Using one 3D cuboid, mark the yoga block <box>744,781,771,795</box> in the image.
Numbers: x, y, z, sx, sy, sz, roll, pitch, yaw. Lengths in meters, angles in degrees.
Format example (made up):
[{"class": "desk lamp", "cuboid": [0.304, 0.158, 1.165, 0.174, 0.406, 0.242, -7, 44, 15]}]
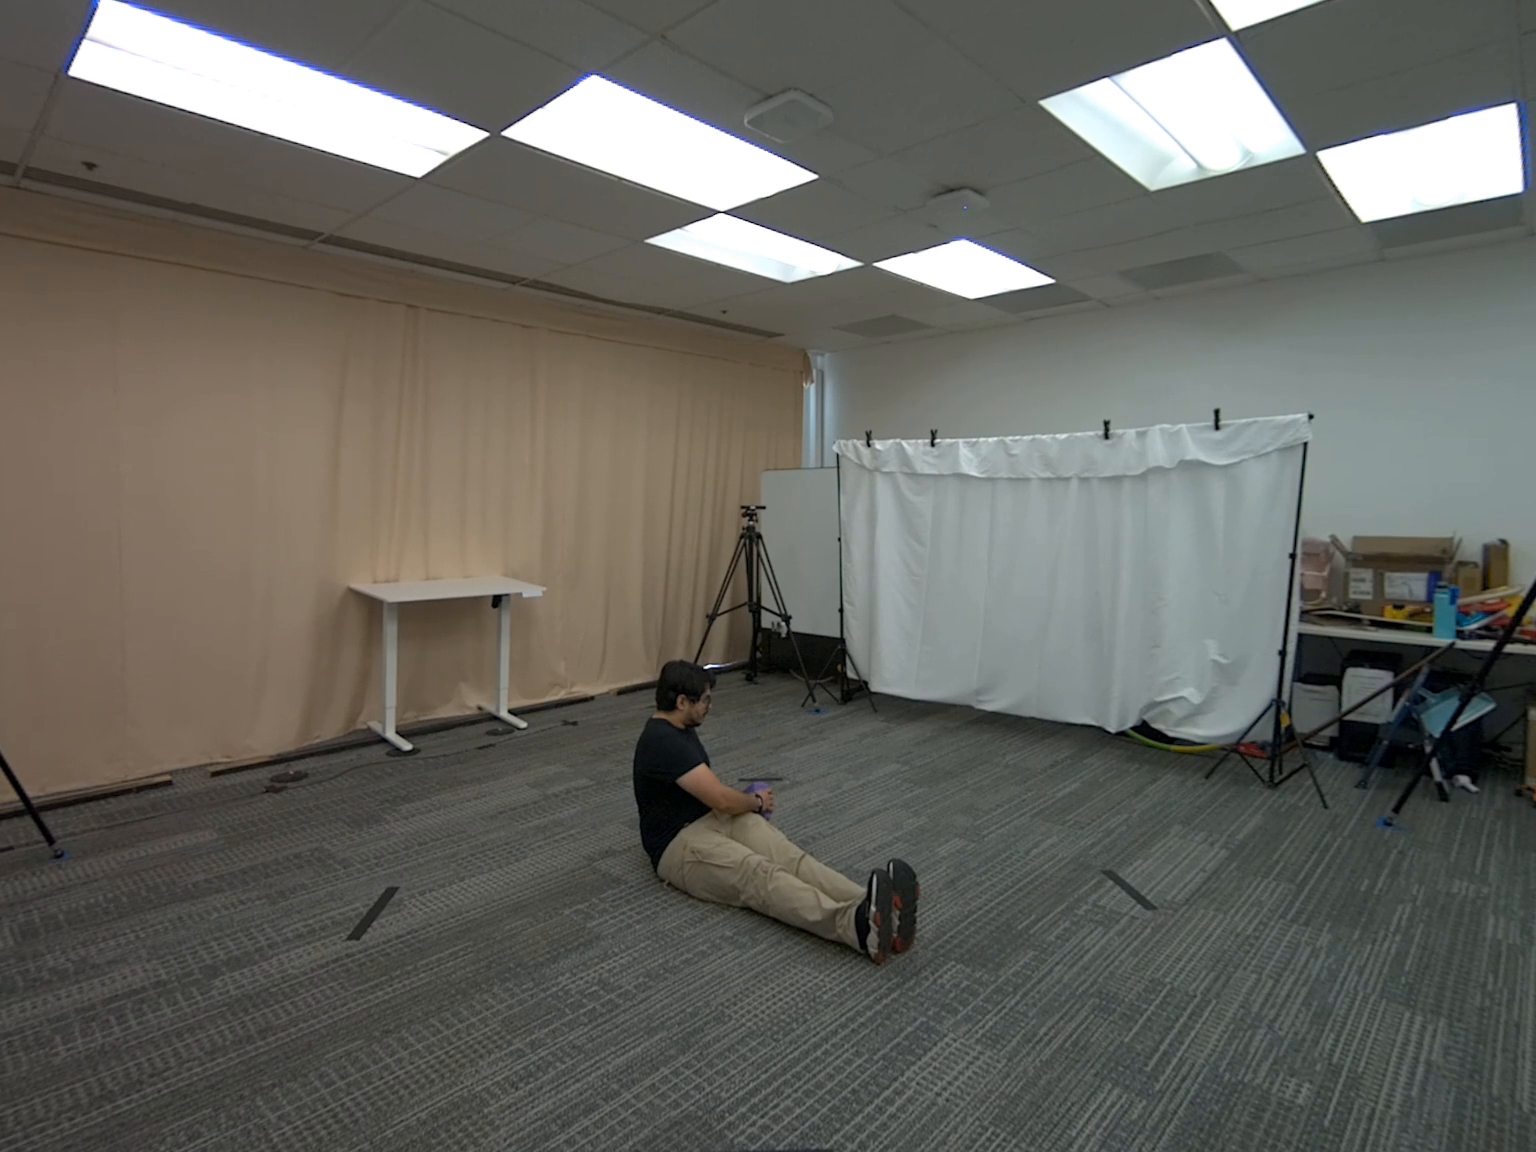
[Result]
[{"class": "yoga block", "cuboid": [-0.075, 0.956, 3.420, 0.075, 0.151, 0.228, 7, -31, -11]}]
